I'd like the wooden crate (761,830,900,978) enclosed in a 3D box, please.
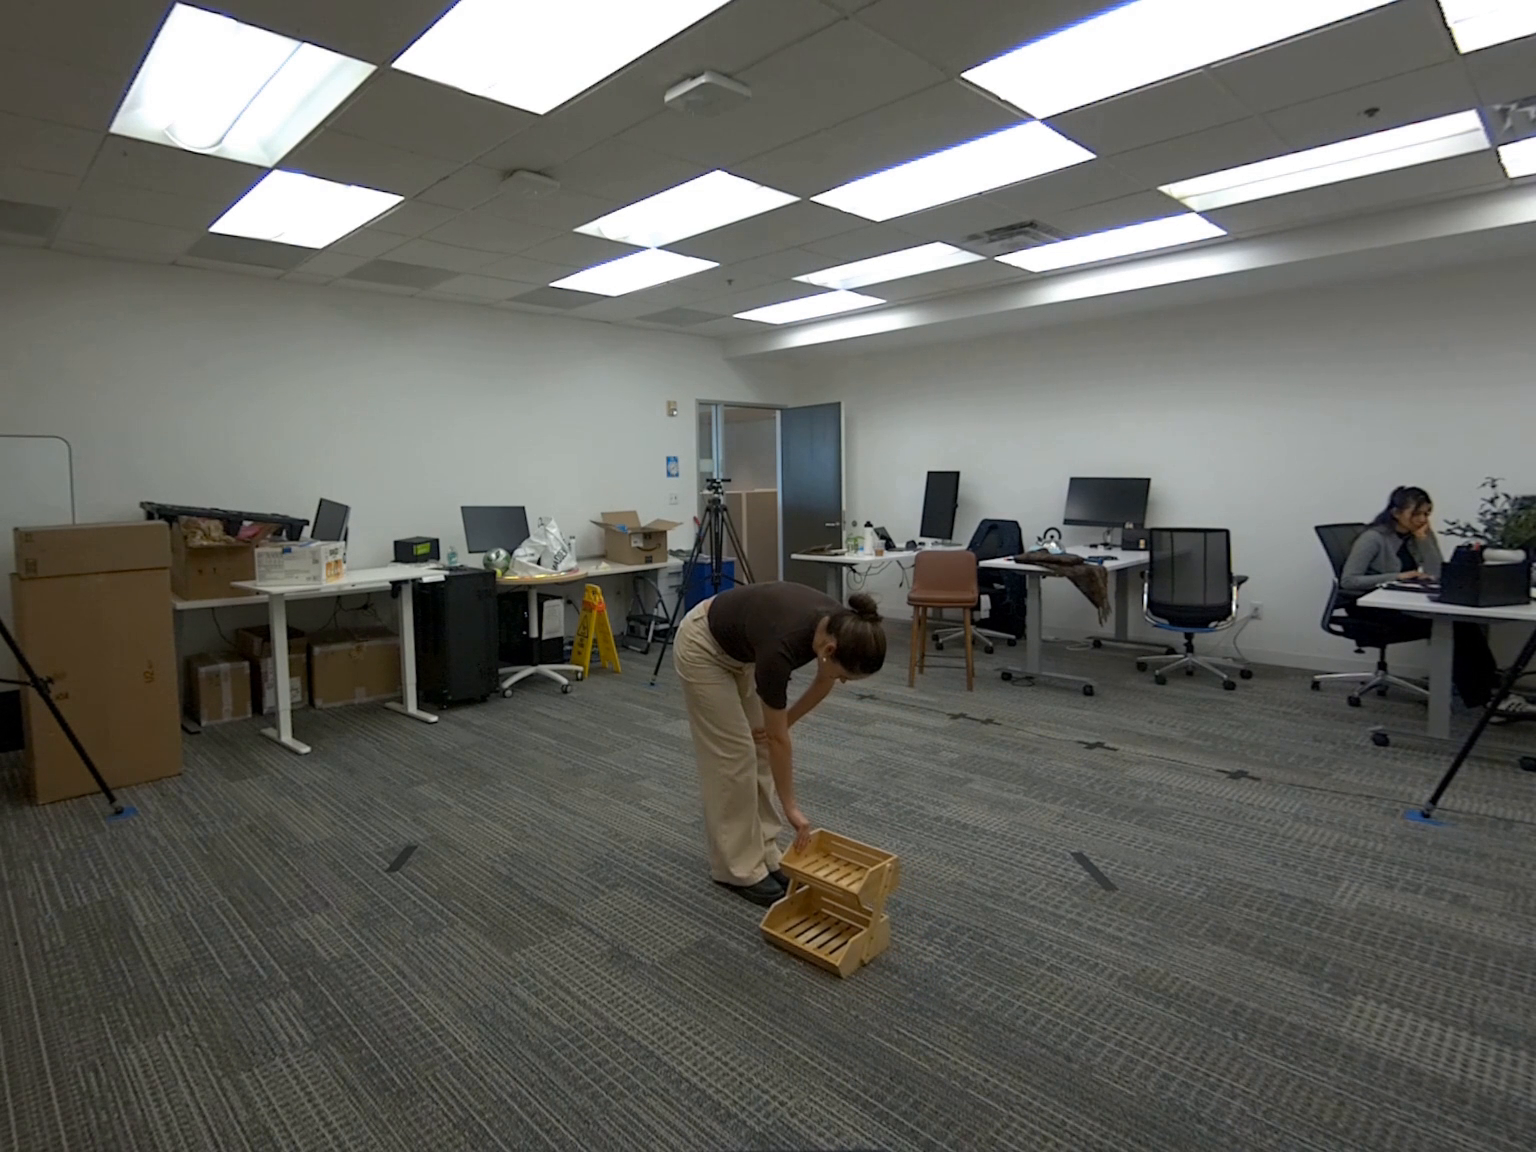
[{"bbox_3d":[0.187,0.967,2.568,0.334,0.272,0.294,4,6,44],"label":"wooden crate"}]
